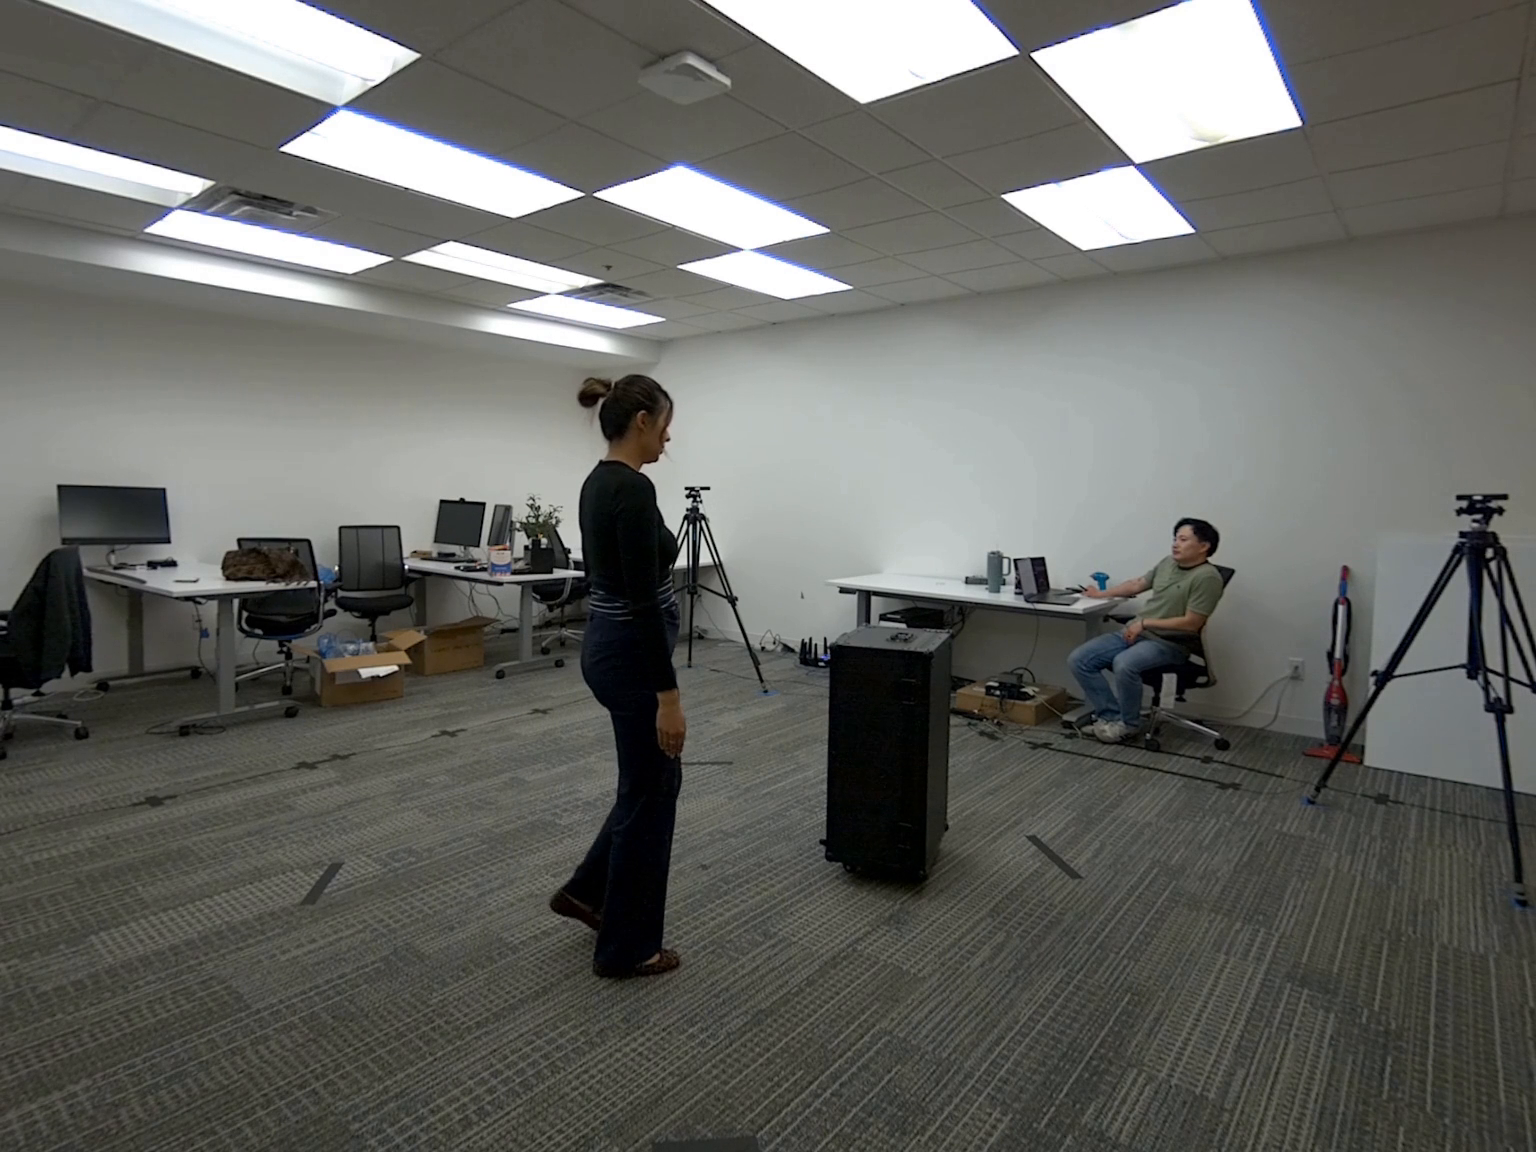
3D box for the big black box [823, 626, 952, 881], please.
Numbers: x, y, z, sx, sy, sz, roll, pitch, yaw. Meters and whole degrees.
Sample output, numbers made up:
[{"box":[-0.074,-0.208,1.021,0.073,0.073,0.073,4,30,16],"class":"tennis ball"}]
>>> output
[{"box":[0.439,0.644,3.160,0.405,0.859,0.511,2,3,22],"class":"big black box"}]
